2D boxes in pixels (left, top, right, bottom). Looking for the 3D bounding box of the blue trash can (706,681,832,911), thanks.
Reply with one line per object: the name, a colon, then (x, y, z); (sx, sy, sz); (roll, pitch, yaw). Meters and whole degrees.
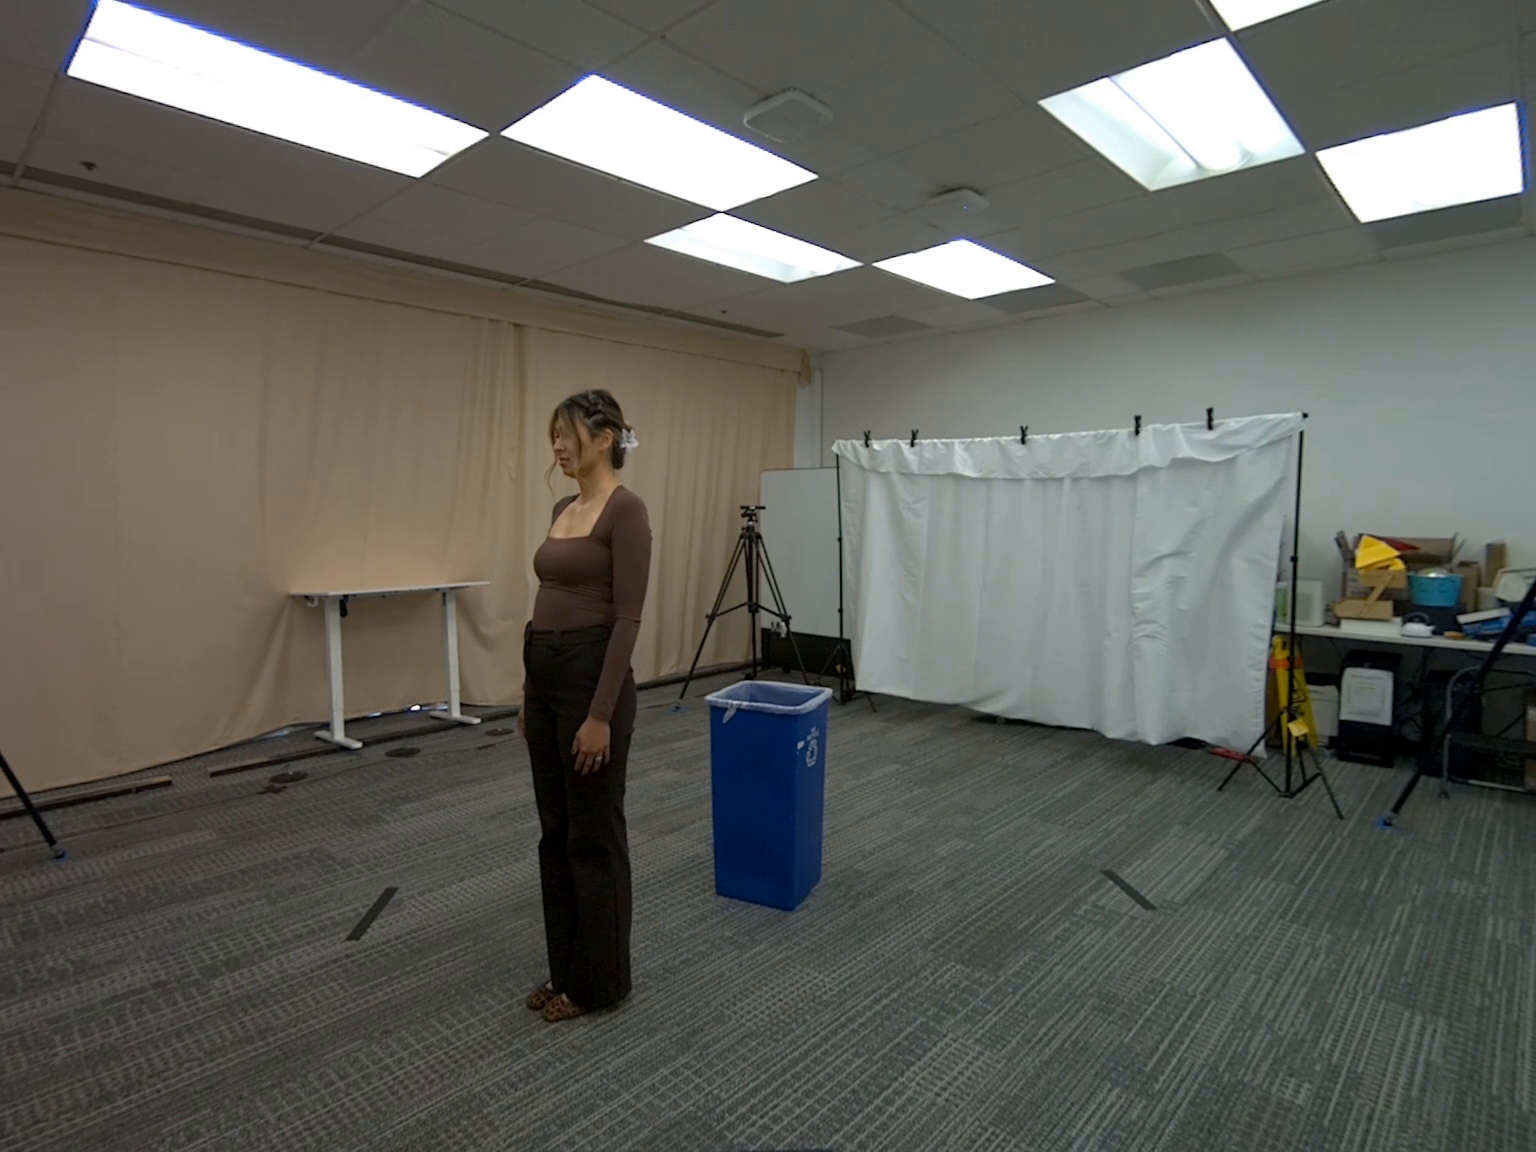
blue trash can: (0.009, 0.776, 3.070); (0.388, 0.712, 0.365); (2, 4, 25)
